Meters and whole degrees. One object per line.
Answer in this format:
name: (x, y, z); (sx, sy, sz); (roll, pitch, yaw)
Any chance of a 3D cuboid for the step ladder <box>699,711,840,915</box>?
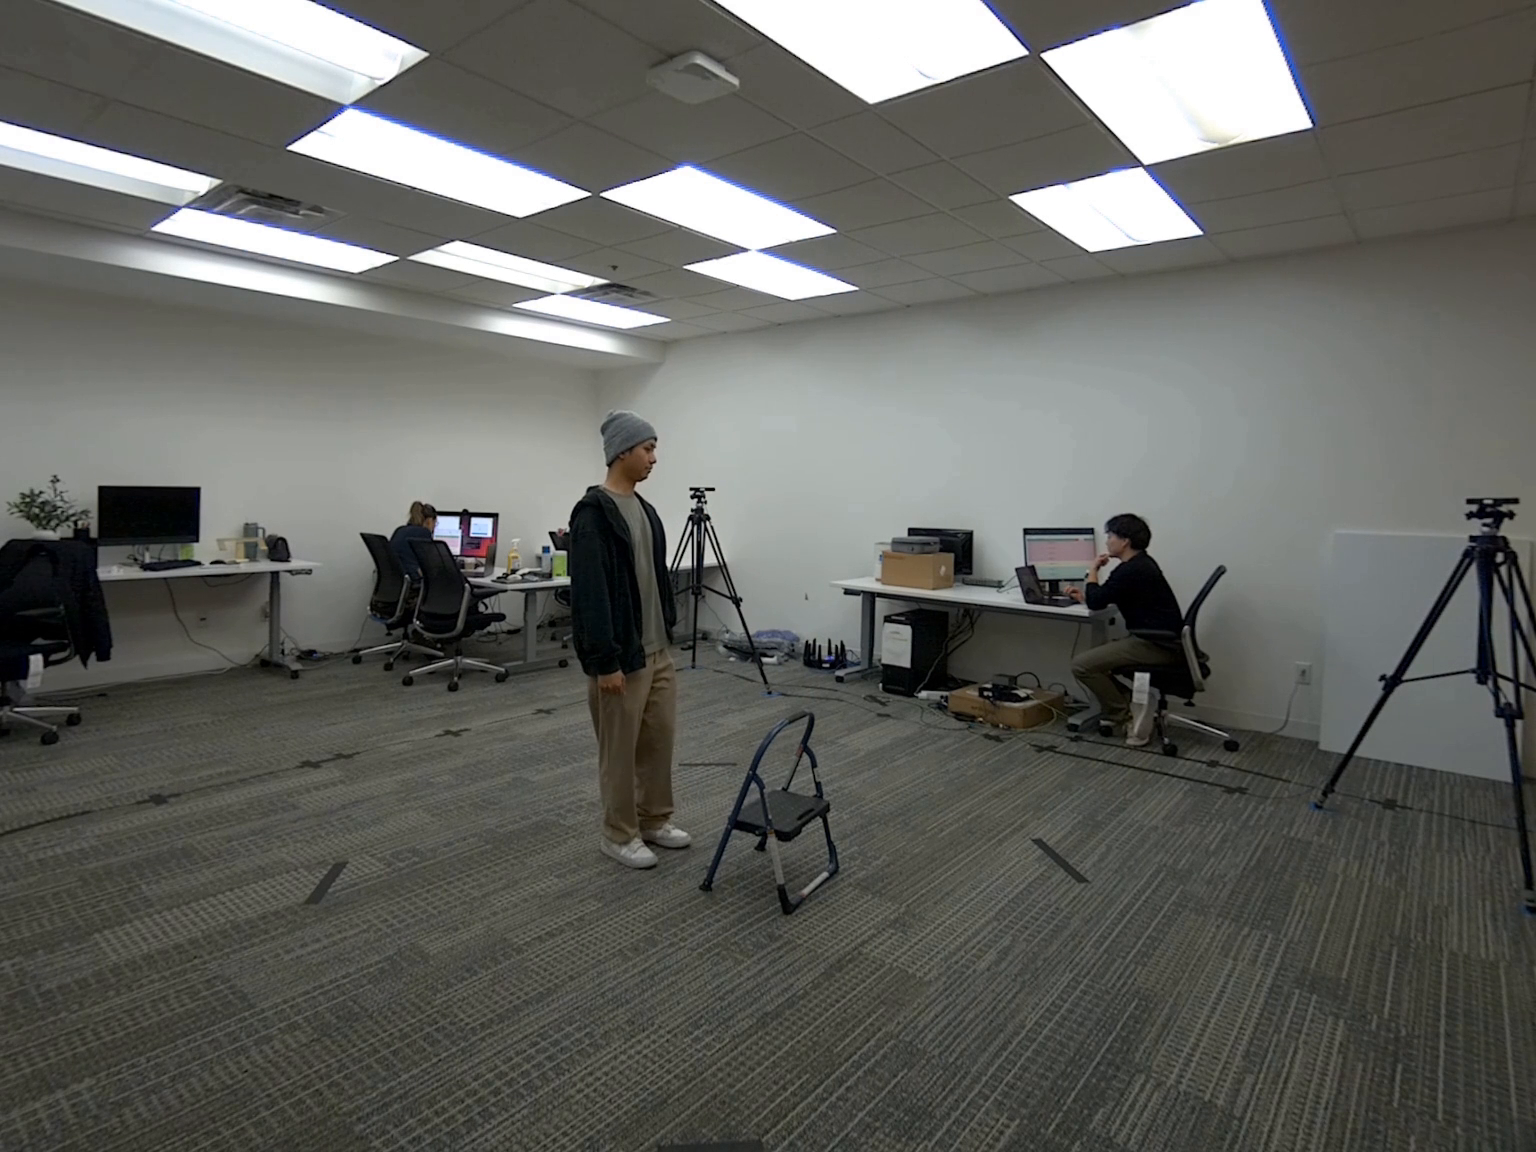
step ladder: (0.016, 0.778, 3.016); (0.359, 0.604, 0.419); (3, 4, 29)
